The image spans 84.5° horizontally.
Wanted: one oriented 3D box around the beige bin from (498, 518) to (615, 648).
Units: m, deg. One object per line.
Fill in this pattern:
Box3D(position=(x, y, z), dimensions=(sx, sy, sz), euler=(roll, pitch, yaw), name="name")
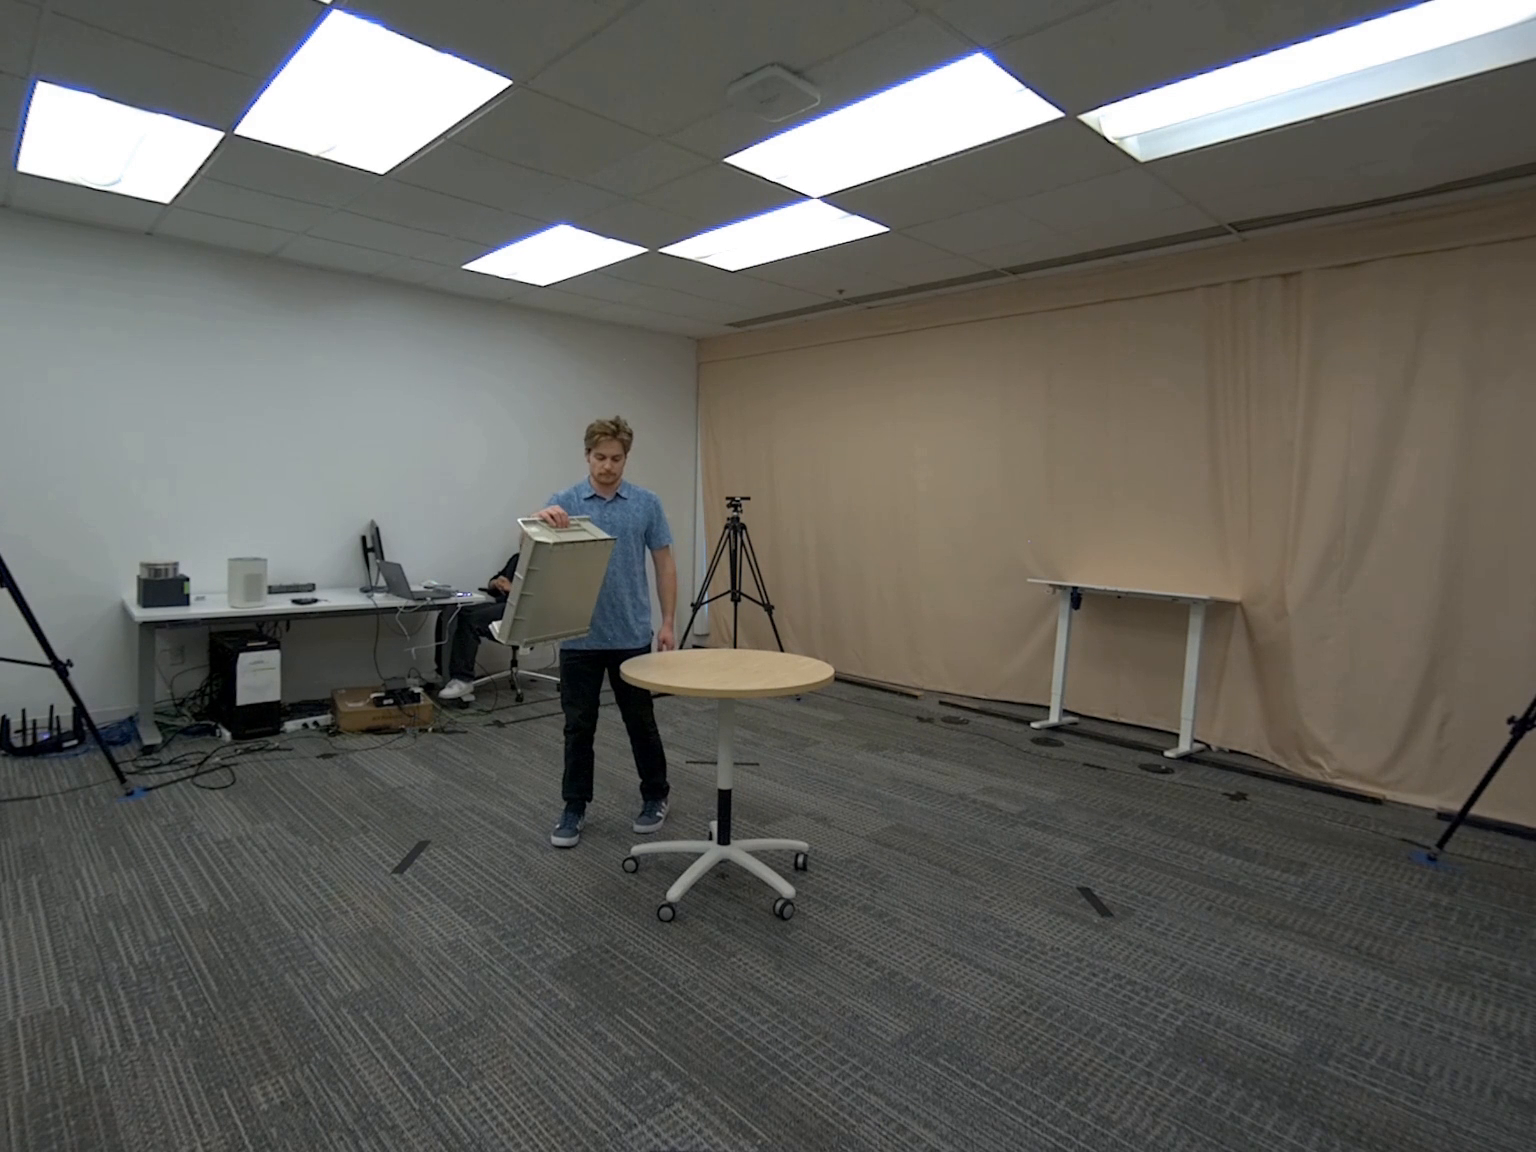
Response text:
Box3D(position=(-0.791, 0.018, 3.016), dimensions=(0.194, 0.419, 0.370), euler=(30, 20, 29), name="beige bin")
